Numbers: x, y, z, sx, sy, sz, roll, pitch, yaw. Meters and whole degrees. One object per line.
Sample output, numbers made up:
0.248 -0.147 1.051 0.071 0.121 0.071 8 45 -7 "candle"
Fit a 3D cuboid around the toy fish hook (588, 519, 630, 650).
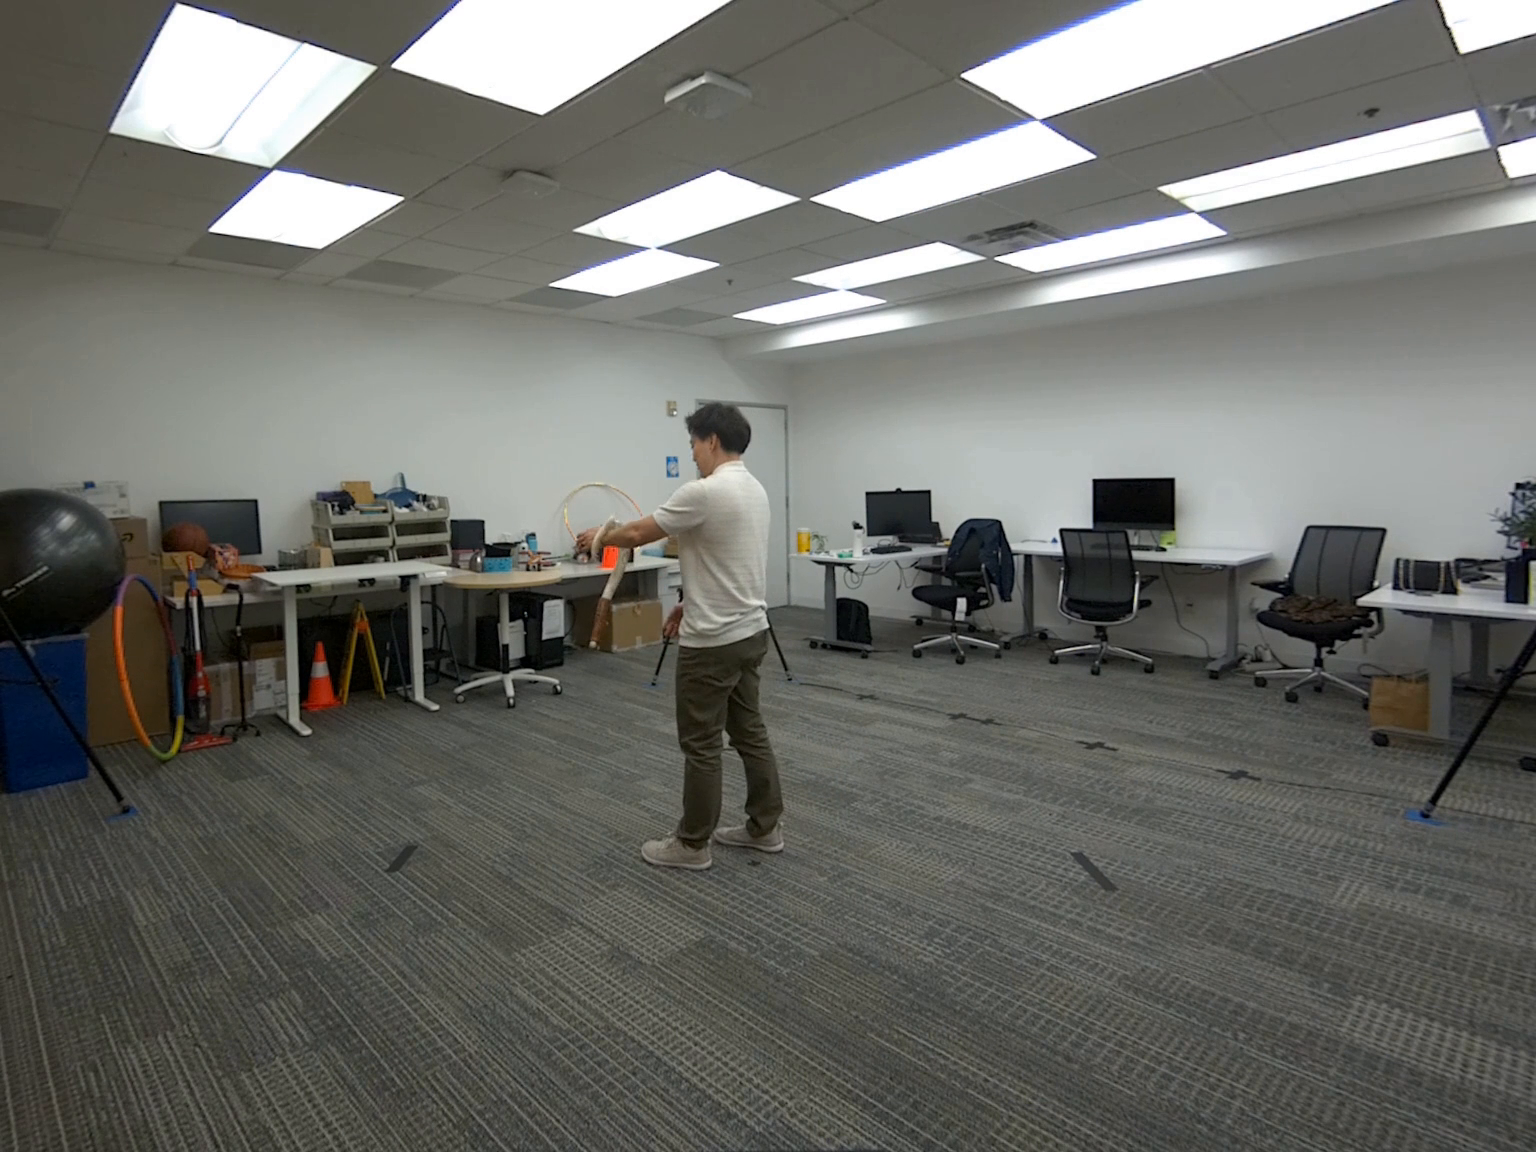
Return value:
-0.626 0.020 3.244 0.049 0.512 0.216 2 -18 34 "toy fish hook"
